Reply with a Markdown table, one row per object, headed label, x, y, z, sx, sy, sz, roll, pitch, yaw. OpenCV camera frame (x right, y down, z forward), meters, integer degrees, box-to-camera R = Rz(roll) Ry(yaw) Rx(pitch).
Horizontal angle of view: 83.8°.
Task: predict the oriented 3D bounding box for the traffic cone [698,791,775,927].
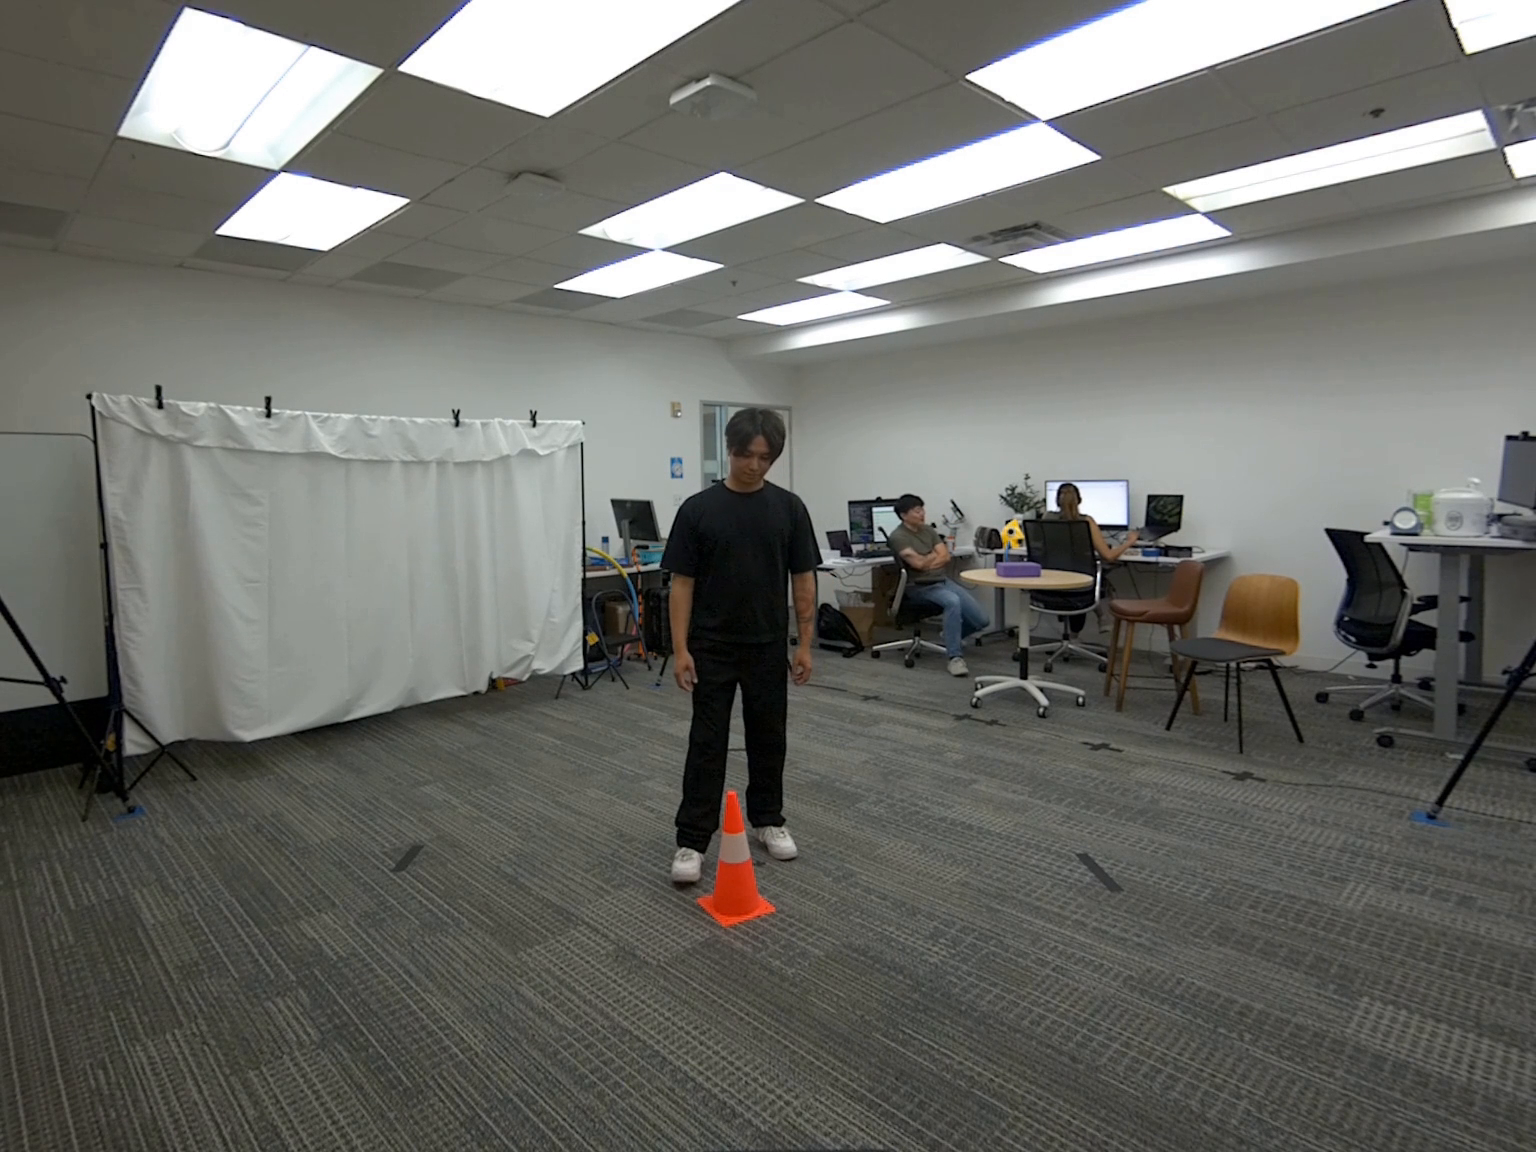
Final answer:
| label | x | y | z | sx | sy | sz | roll | pitch | yaw |
| --- | --- | --- | --- | --- | --- | --- | --- | --- | --- |
| traffic cone | -0.111 | 0.904 | 2.790 | 0.200 | 0.382 | 0.209 | -6 | 5 | -32 |
